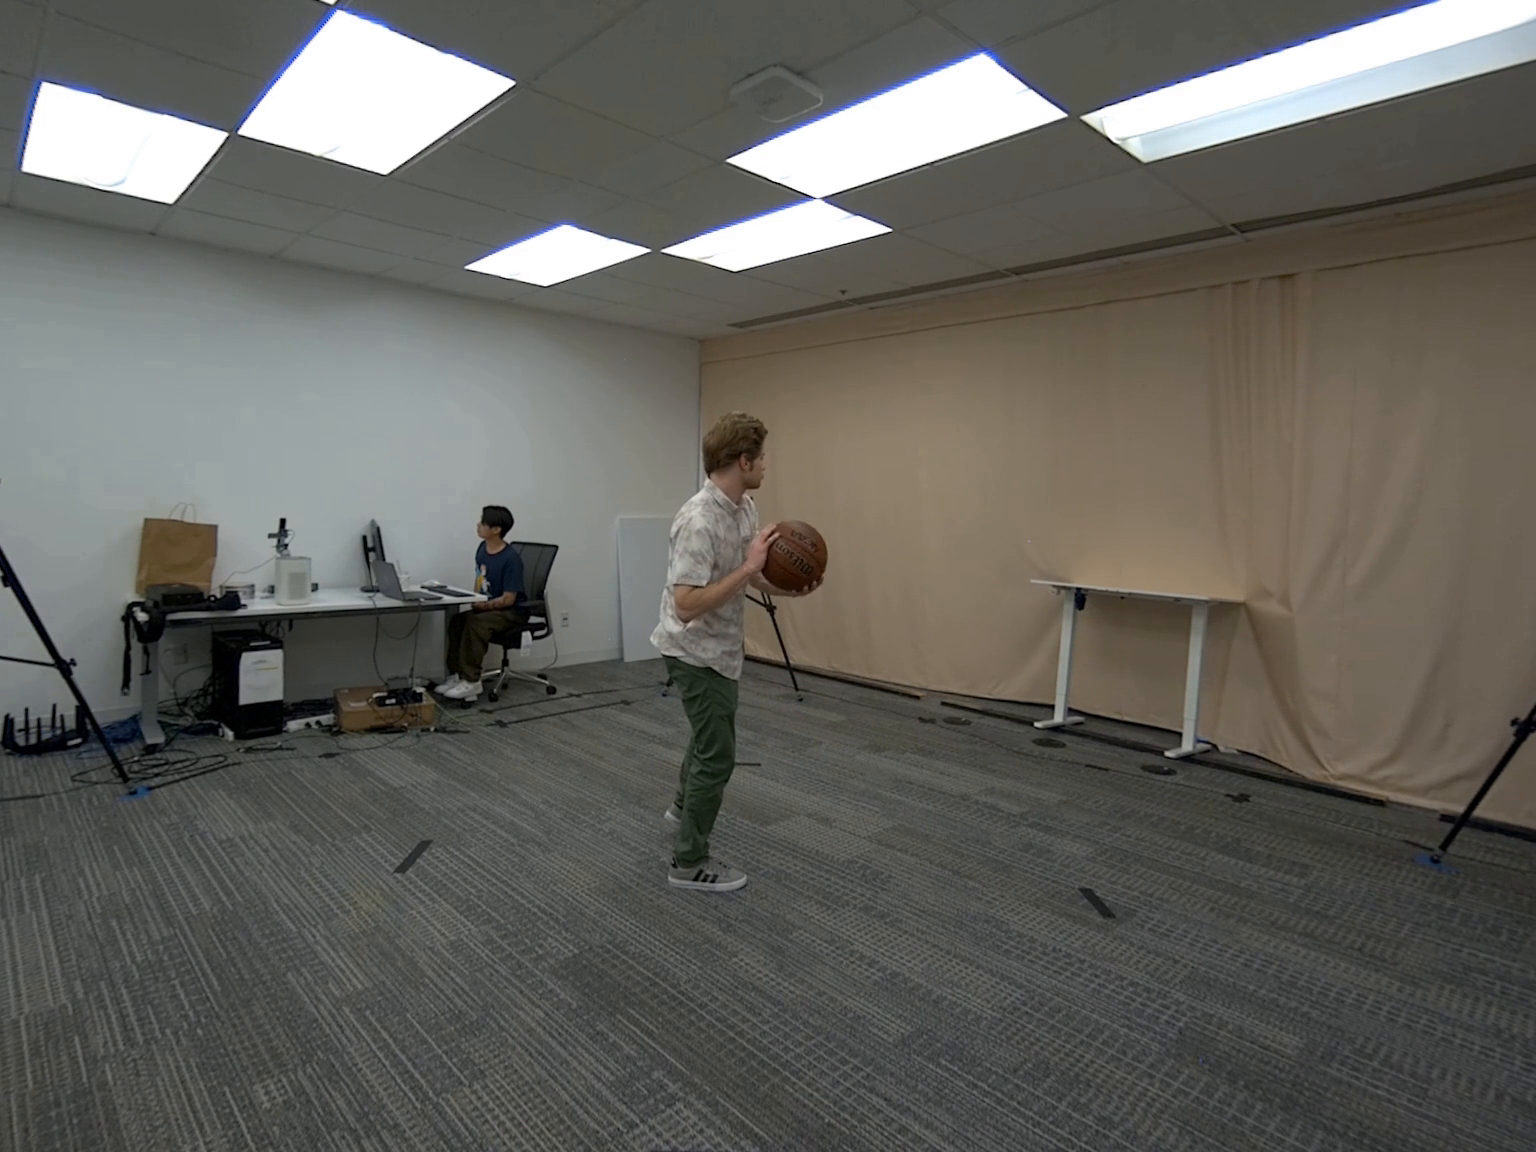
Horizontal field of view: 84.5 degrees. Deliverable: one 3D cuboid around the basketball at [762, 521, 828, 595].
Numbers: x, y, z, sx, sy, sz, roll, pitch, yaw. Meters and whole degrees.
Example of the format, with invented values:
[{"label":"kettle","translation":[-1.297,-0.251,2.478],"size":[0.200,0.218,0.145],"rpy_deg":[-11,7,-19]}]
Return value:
[{"label":"basketball","translation":[0.072,-0.060,2.853],"size":[0.236,0.235,0.237],"rpy_deg":[1,4,-1]}]
